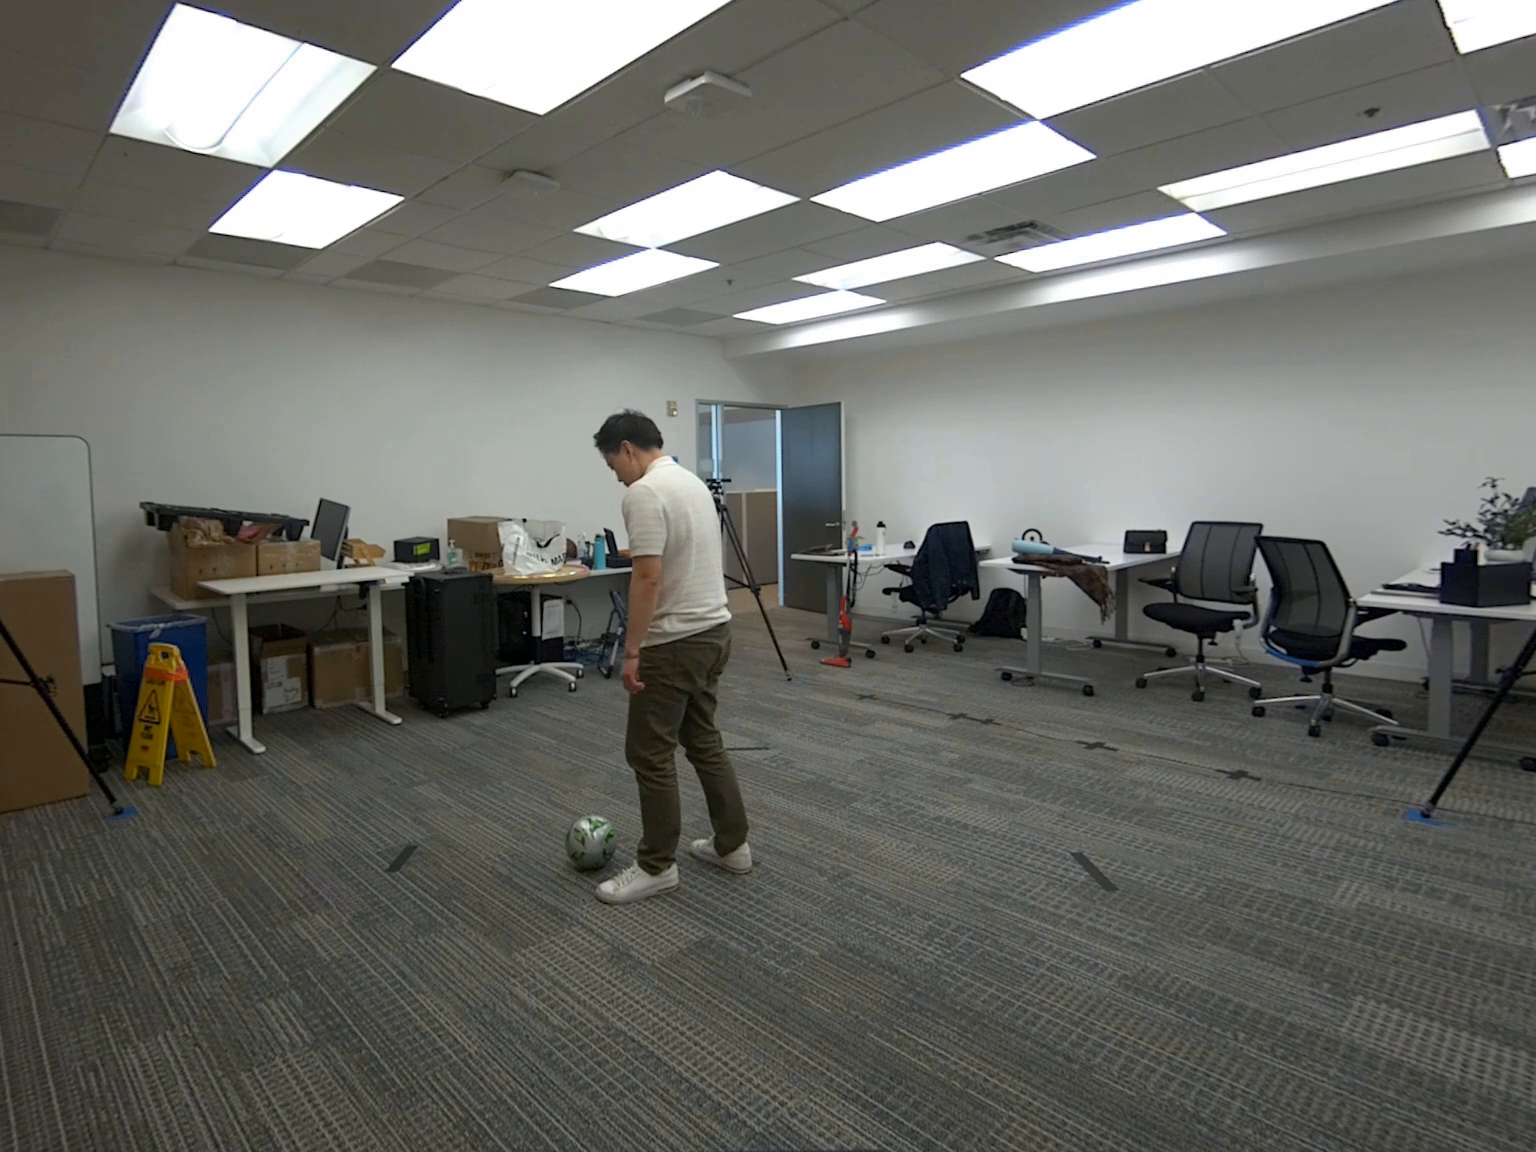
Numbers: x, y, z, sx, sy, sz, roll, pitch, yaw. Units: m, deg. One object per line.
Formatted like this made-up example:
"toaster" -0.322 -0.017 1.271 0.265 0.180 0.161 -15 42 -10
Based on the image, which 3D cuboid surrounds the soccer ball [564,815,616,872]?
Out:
"soccer ball" -0.638 0.962 3.100 0.187 0.187 0.188 -1 5 -2
